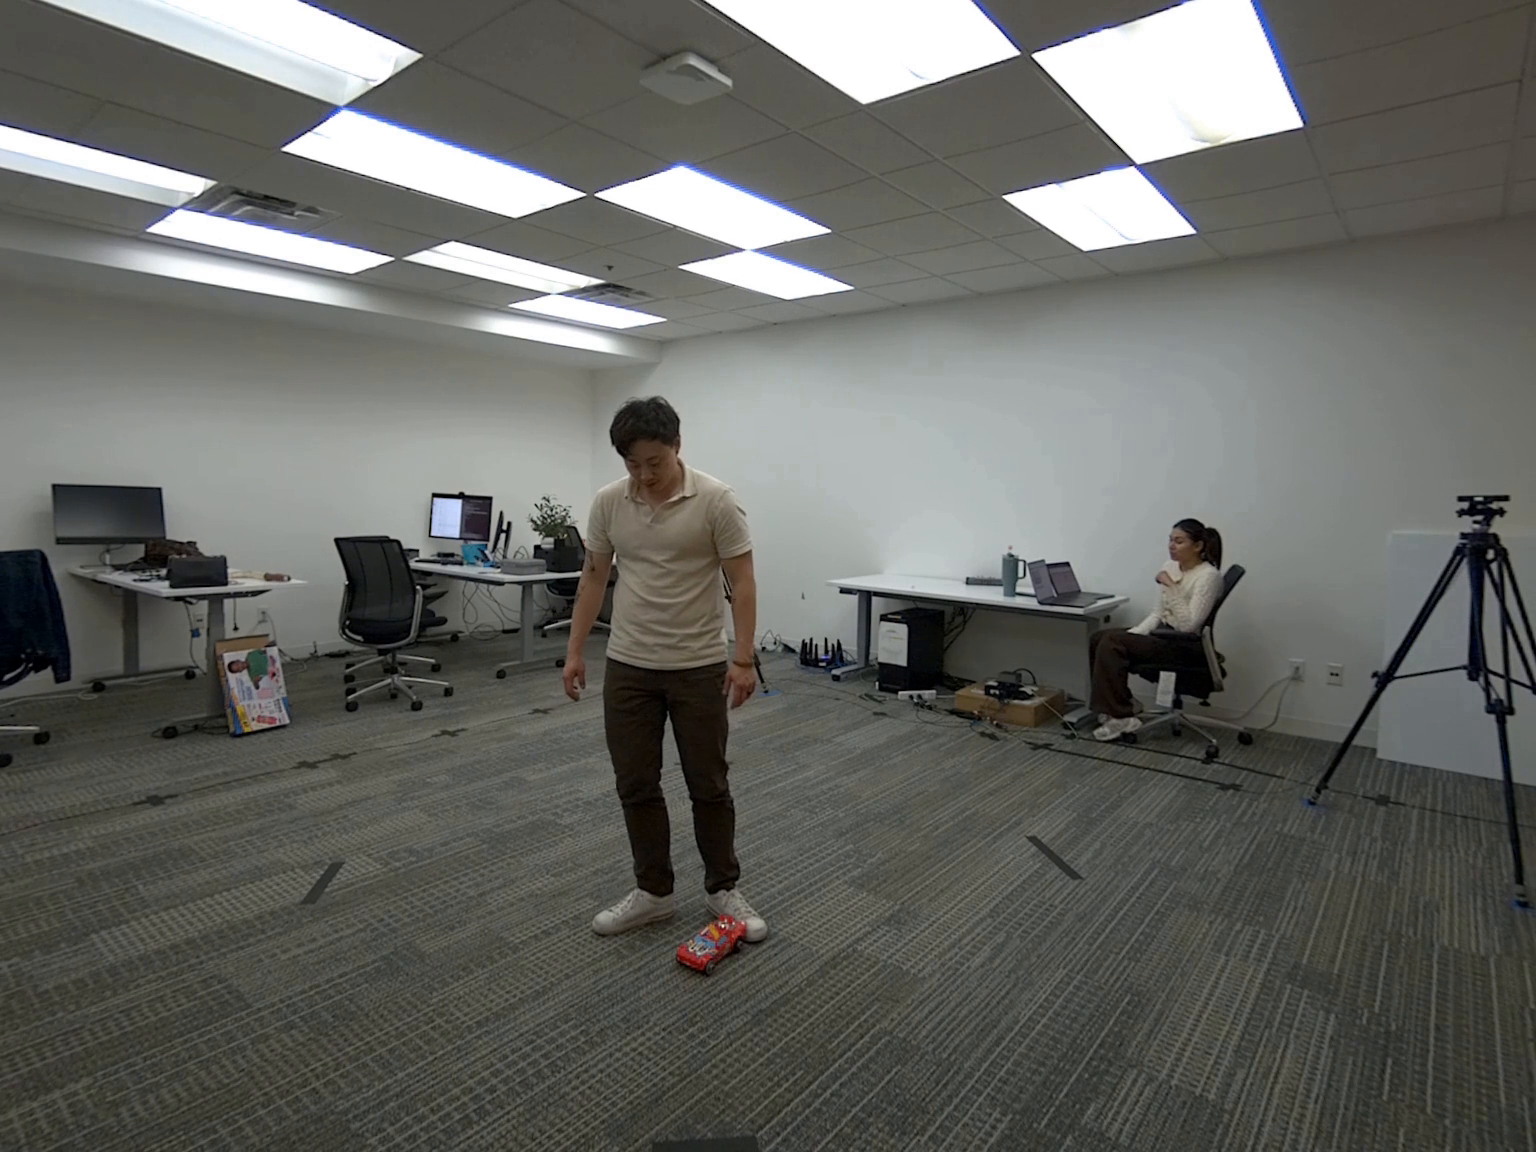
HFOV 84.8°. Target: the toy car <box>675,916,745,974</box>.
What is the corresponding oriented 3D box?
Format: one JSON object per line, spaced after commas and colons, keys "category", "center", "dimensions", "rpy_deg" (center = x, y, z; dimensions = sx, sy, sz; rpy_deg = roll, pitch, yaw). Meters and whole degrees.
{"category": "toy car", "center": [-0.166, 1.090, 2.528], "dimensions": [0.134, 0.082, 0.250], "rpy_deg": [4, 17, 34]}
